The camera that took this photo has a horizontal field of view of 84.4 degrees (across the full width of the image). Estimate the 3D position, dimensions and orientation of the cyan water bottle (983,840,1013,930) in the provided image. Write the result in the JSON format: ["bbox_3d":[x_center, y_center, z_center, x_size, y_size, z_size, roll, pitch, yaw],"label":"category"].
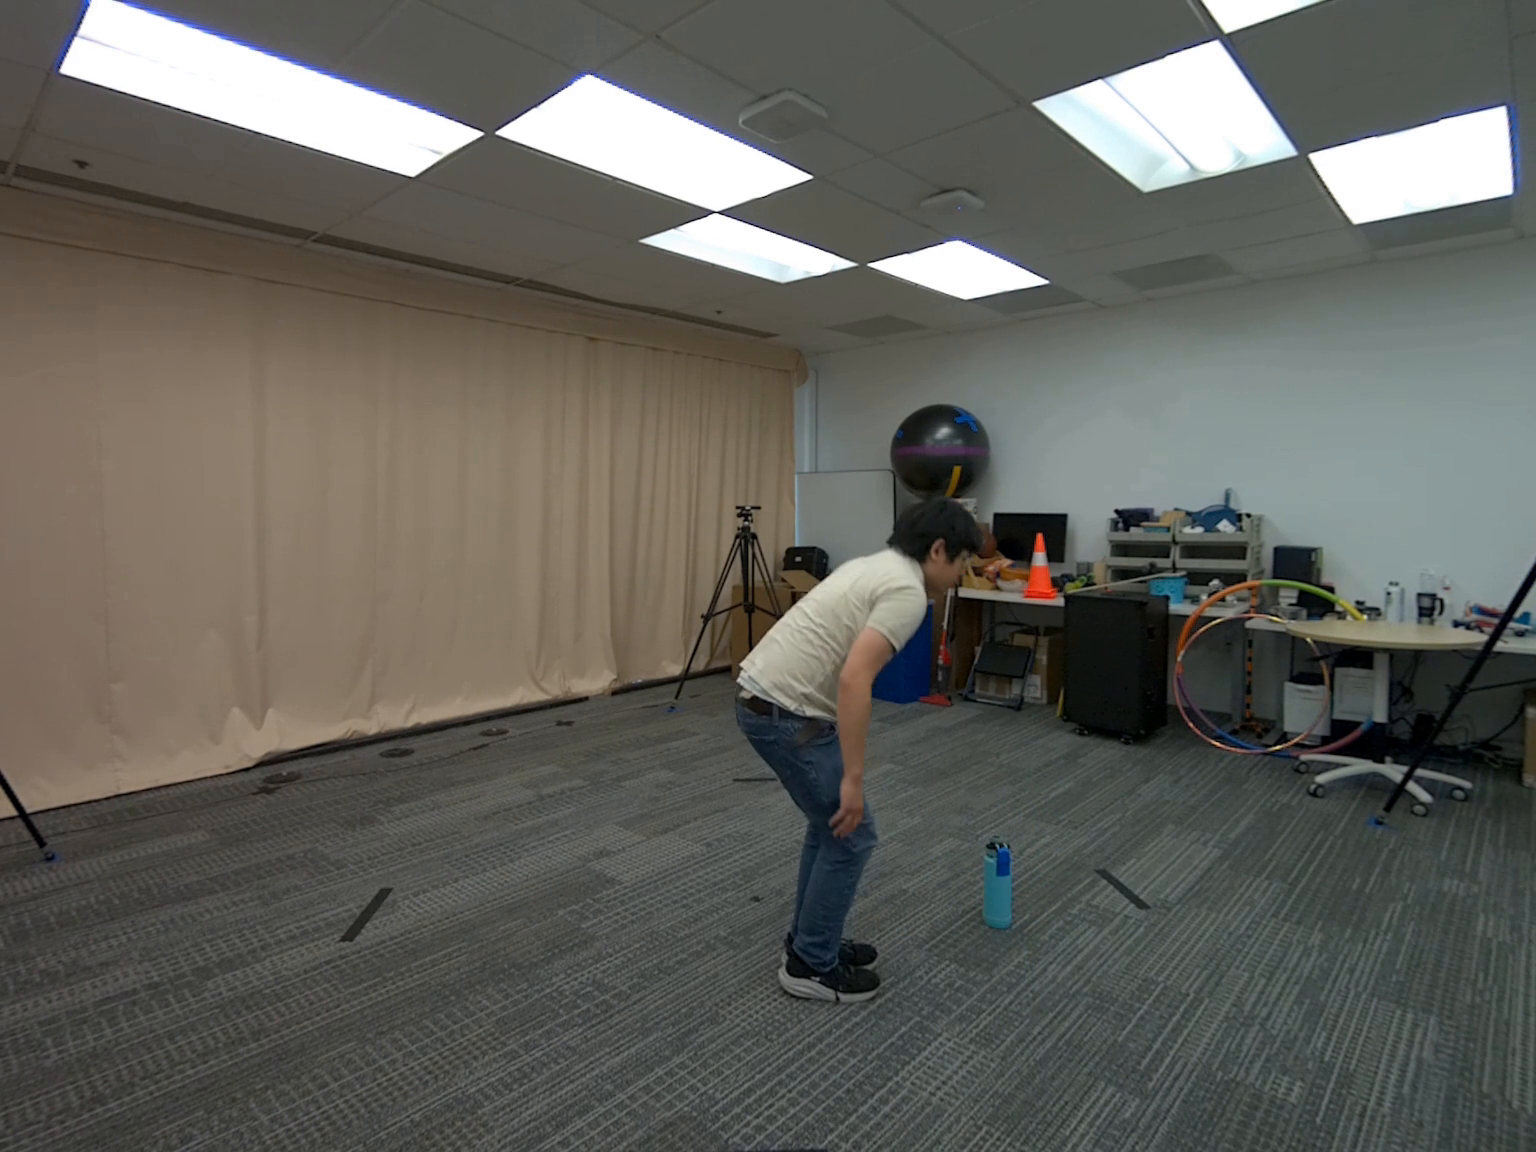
[{"bbox_3d":[0.775,1.017,2.796,0.092,0.283,0.092,0,4,-2],"label":"cyan water bottle"}]
